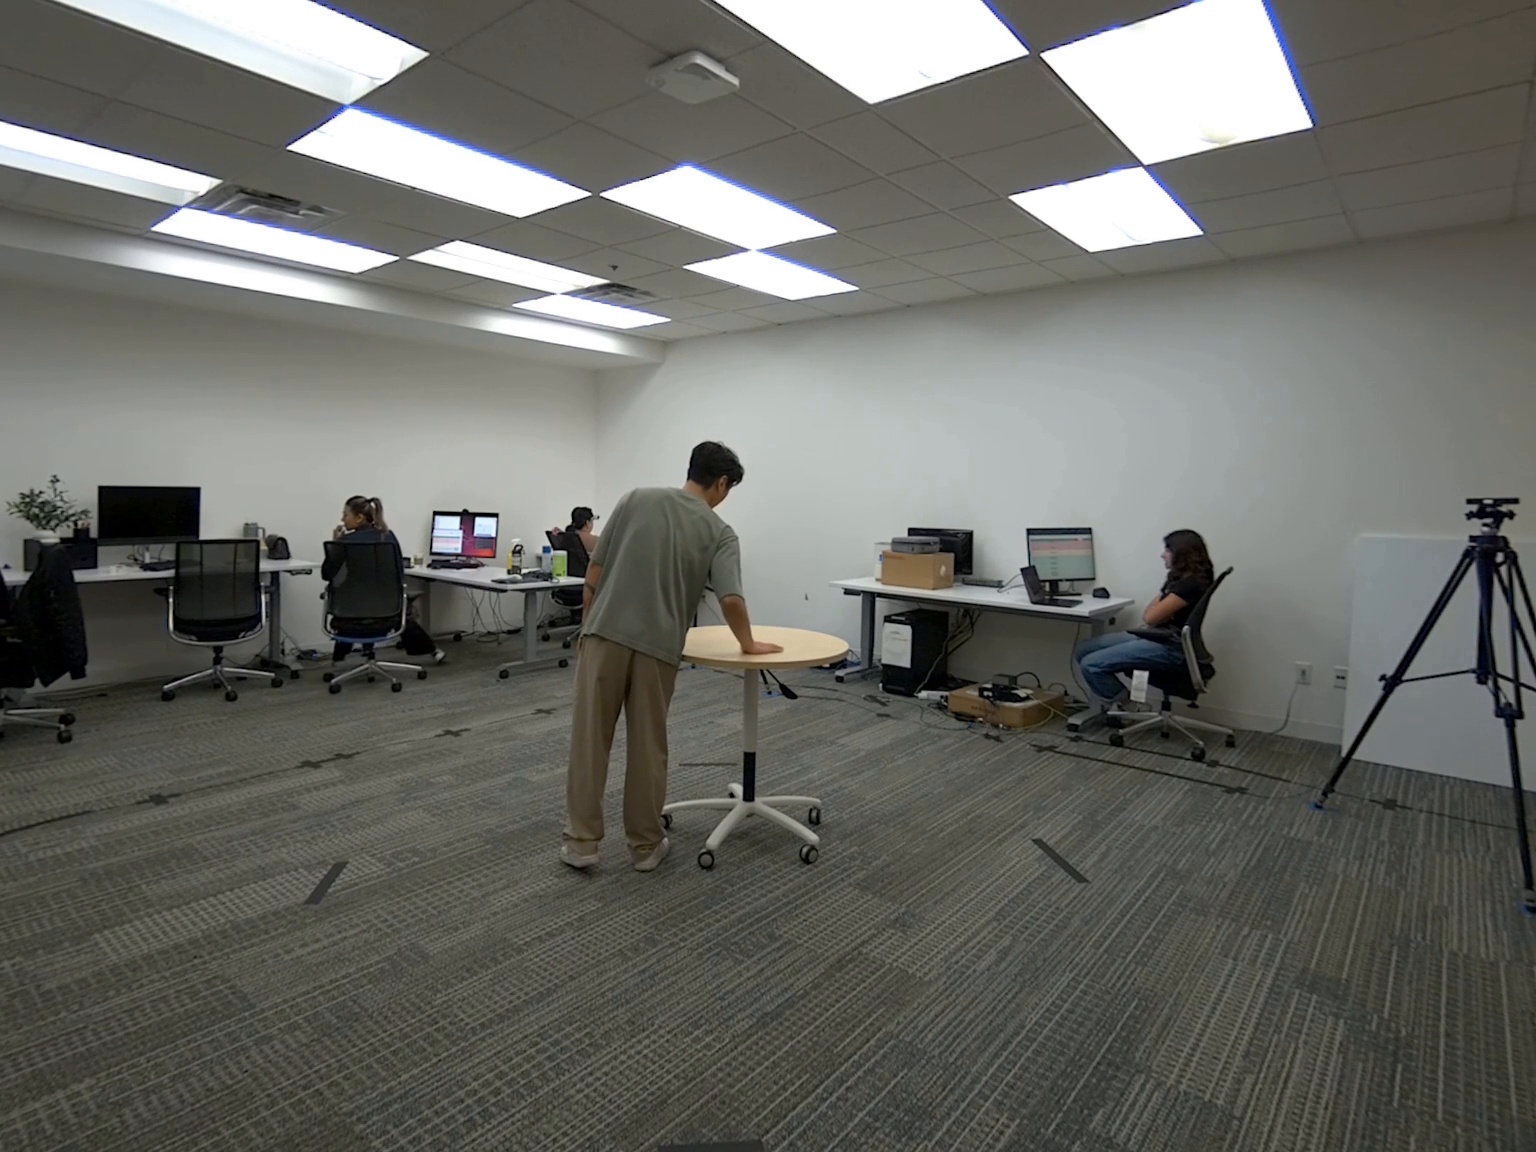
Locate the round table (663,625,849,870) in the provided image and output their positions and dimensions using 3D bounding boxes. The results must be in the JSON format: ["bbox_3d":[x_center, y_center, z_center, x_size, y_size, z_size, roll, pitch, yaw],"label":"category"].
[{"bbox_3d":[-0.081,0.651,3.415,0.763,0.791,0.768,1,4,-2],"label":"round table"}]
